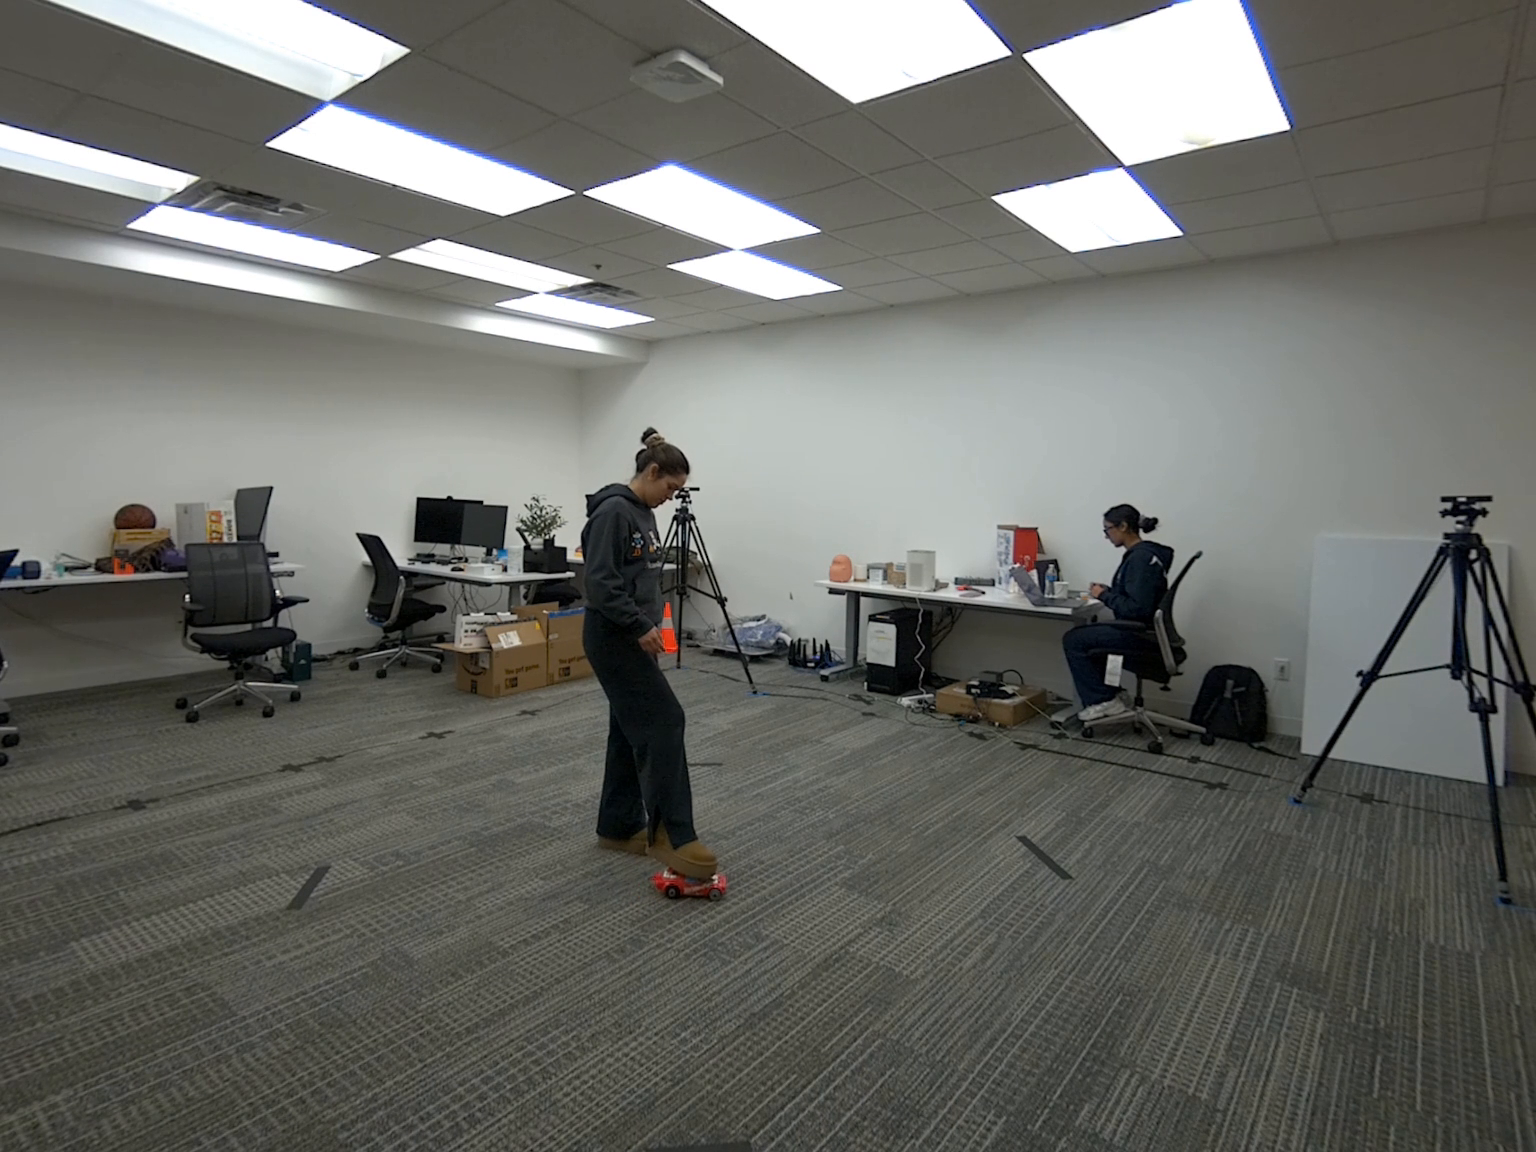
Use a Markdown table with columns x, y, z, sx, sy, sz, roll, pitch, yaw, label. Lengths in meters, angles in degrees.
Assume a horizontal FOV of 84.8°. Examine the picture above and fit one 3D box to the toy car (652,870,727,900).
| x | y | z | sx | sy | sz | roll | pitch | yaw | label |
| --- | --- | --- | --- | --- | --- | --- | --- | --- | --- |
| -0.276 | 1.054 | 2.920 | 0.255 | 0.083 | 0.130 | 13 | 3 | 2 | toy car |
